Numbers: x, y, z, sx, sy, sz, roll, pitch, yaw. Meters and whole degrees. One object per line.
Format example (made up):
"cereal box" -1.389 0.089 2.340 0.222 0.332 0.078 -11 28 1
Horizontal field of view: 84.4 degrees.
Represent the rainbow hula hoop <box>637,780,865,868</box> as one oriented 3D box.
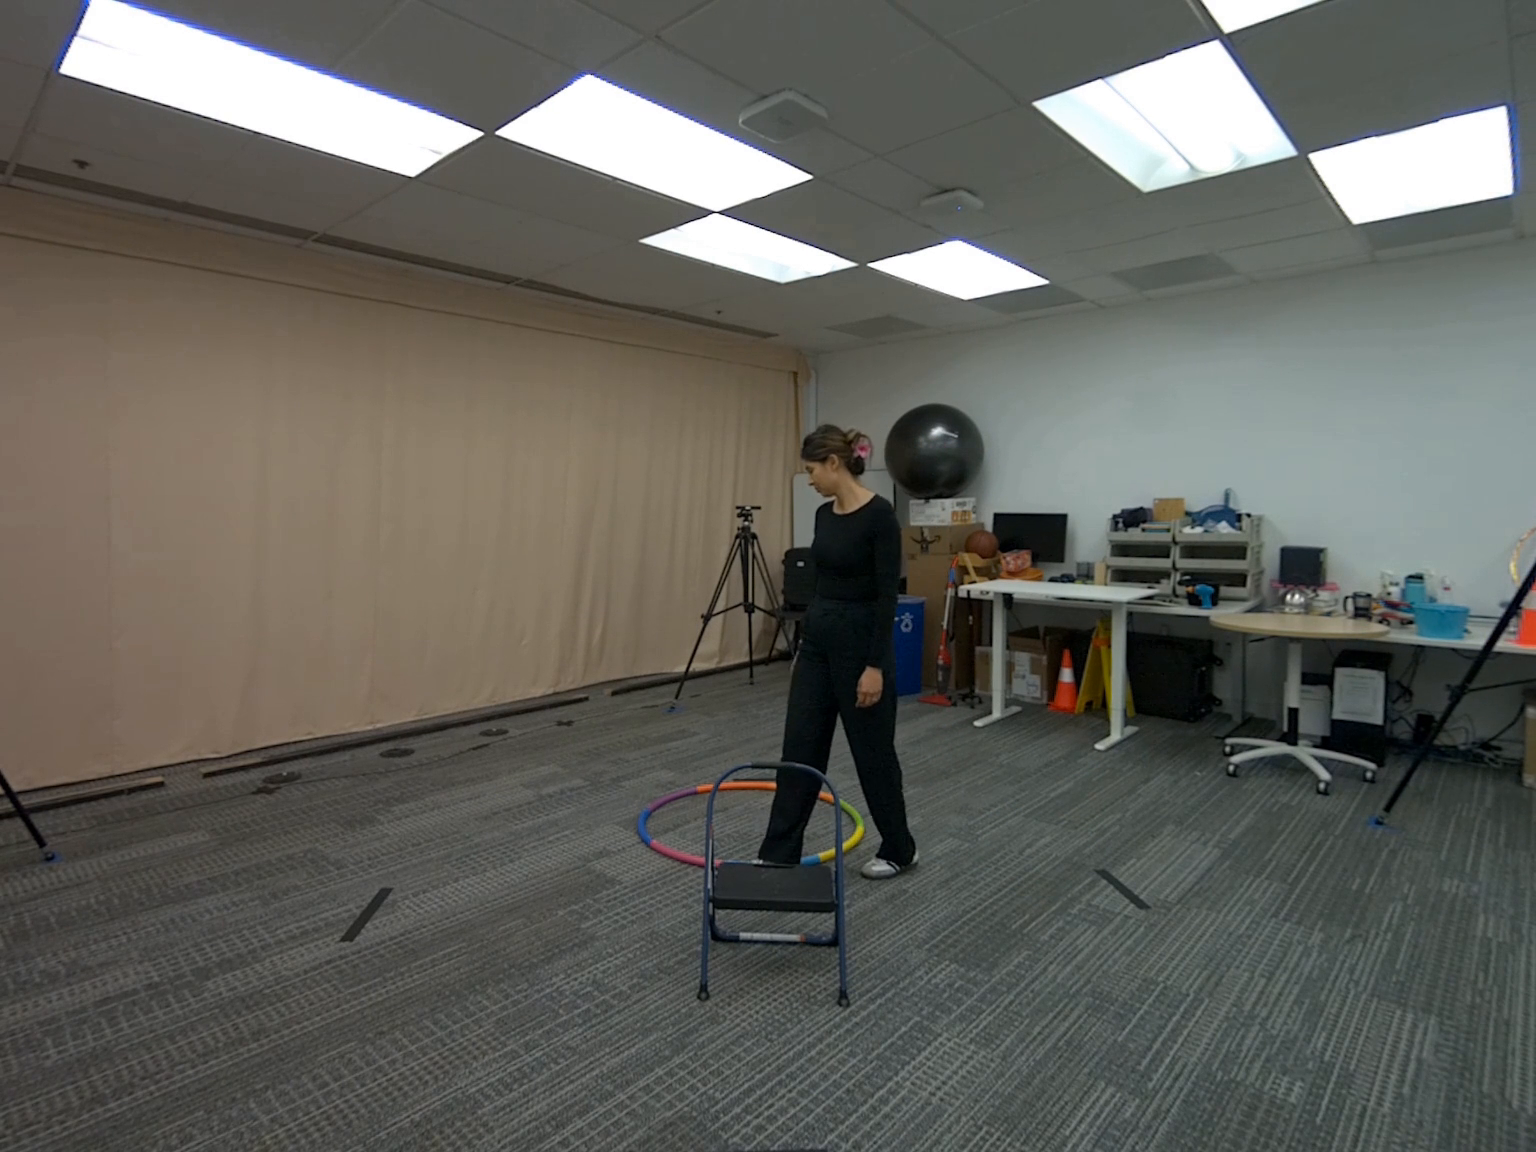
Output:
"rainbow hula hoop" -0.080 1.056 3.675 0.978 0.035 0.982 -1 5 -2
